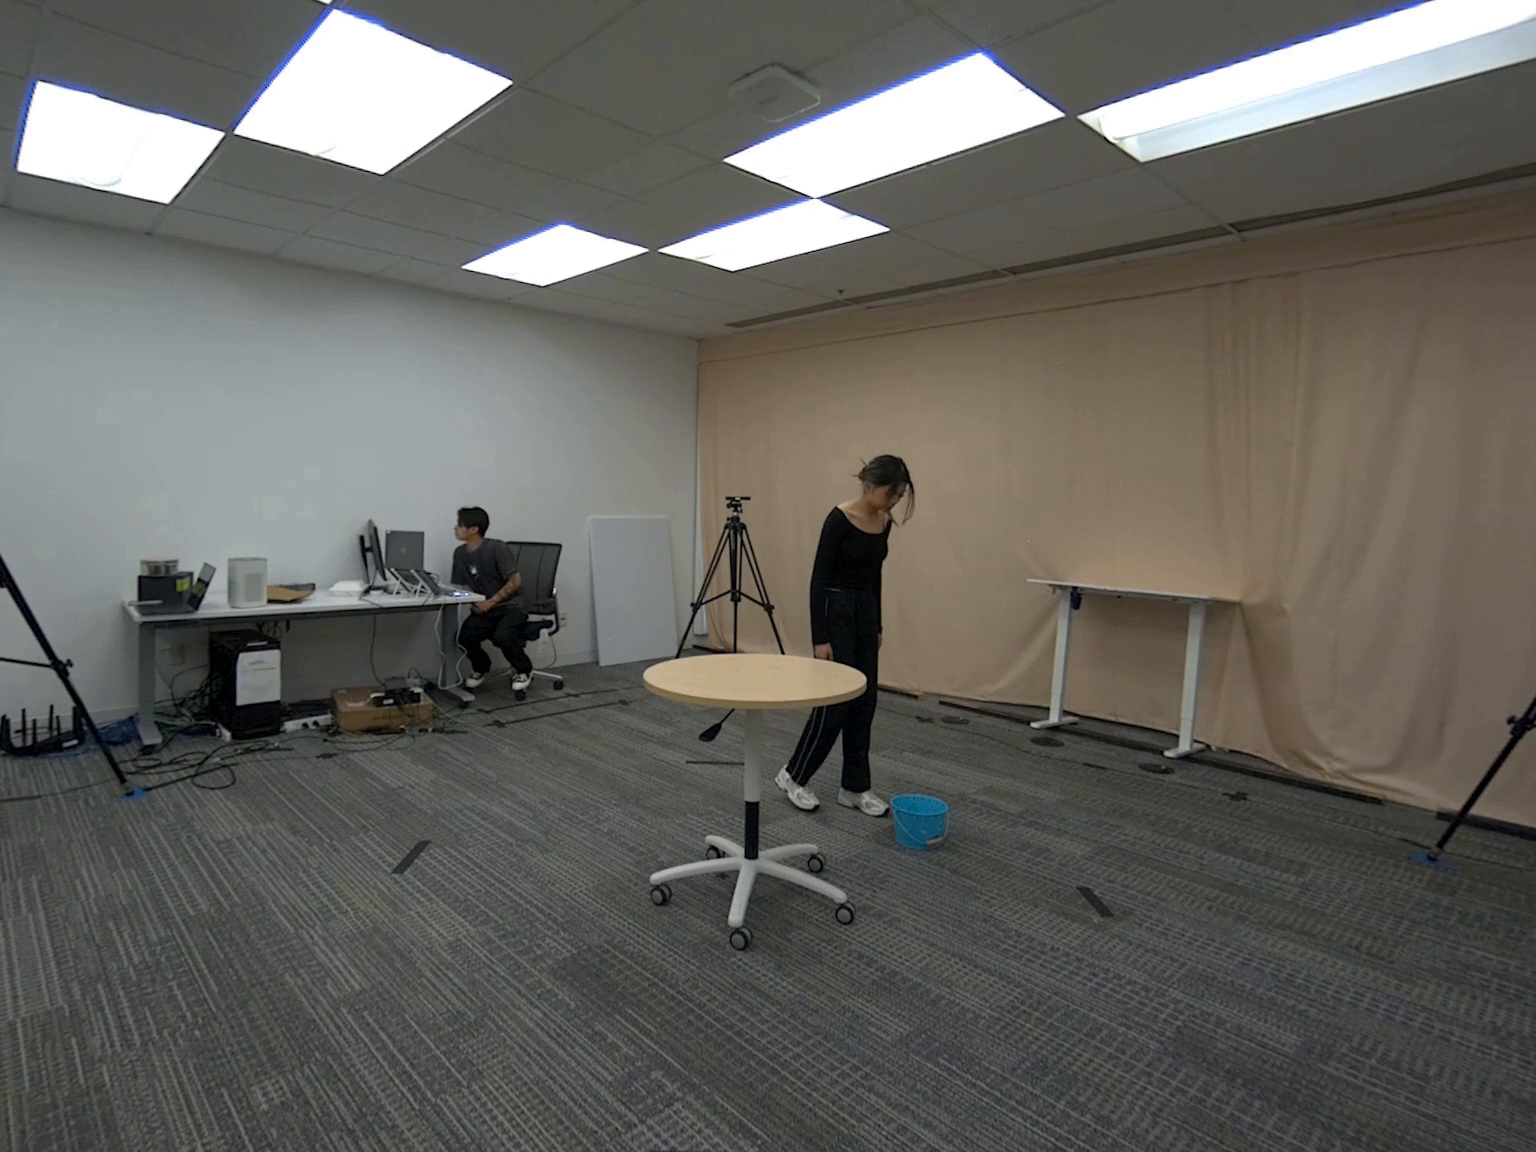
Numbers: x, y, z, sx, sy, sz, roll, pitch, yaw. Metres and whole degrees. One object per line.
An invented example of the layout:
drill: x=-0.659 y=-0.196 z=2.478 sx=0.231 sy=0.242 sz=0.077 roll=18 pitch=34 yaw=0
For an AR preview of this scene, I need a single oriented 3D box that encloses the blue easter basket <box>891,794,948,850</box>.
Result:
blue easter basket: x=0.607 y=1.013 z=3.473 sx=0.243 sy=0.155 sz=0.244 roll=0 pitch=4 yaw=-1
